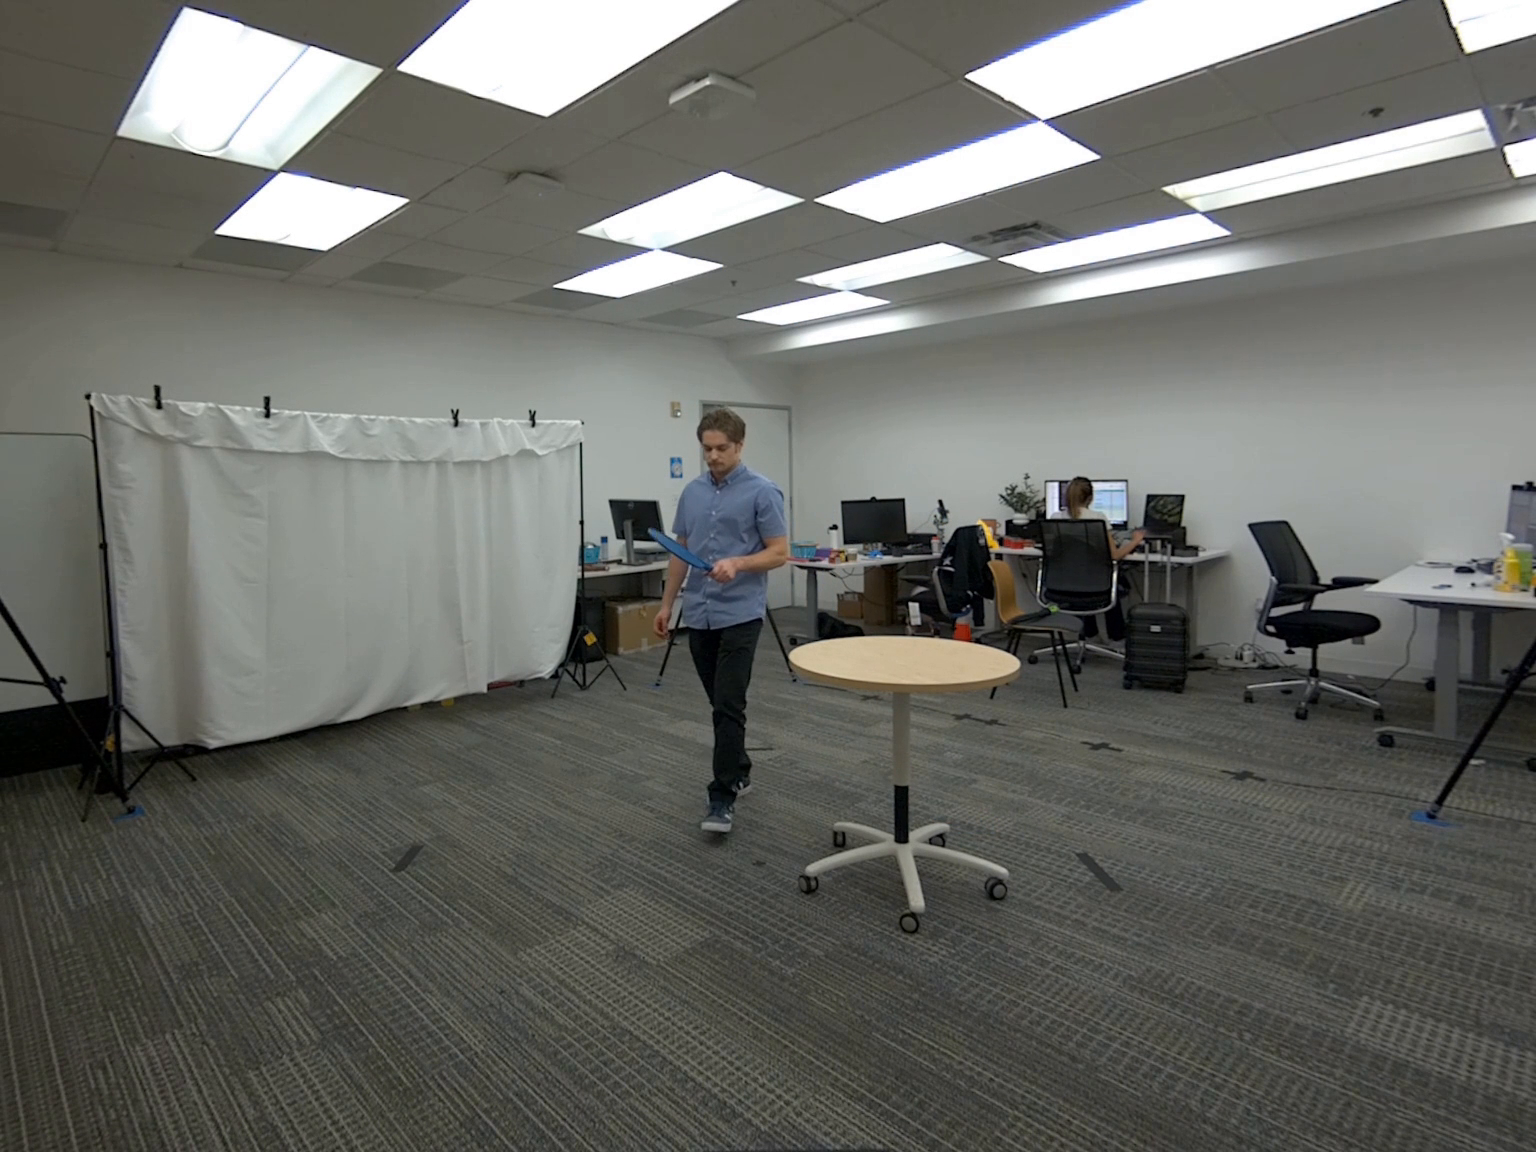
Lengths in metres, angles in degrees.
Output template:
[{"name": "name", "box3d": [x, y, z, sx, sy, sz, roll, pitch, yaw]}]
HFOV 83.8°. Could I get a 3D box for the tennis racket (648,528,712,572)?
[{"name": "tennis racket", "box3d": [-0.302, -0.067, 3.251, 0.416, 0.032, 0.222, 34, 7, -42]}]
